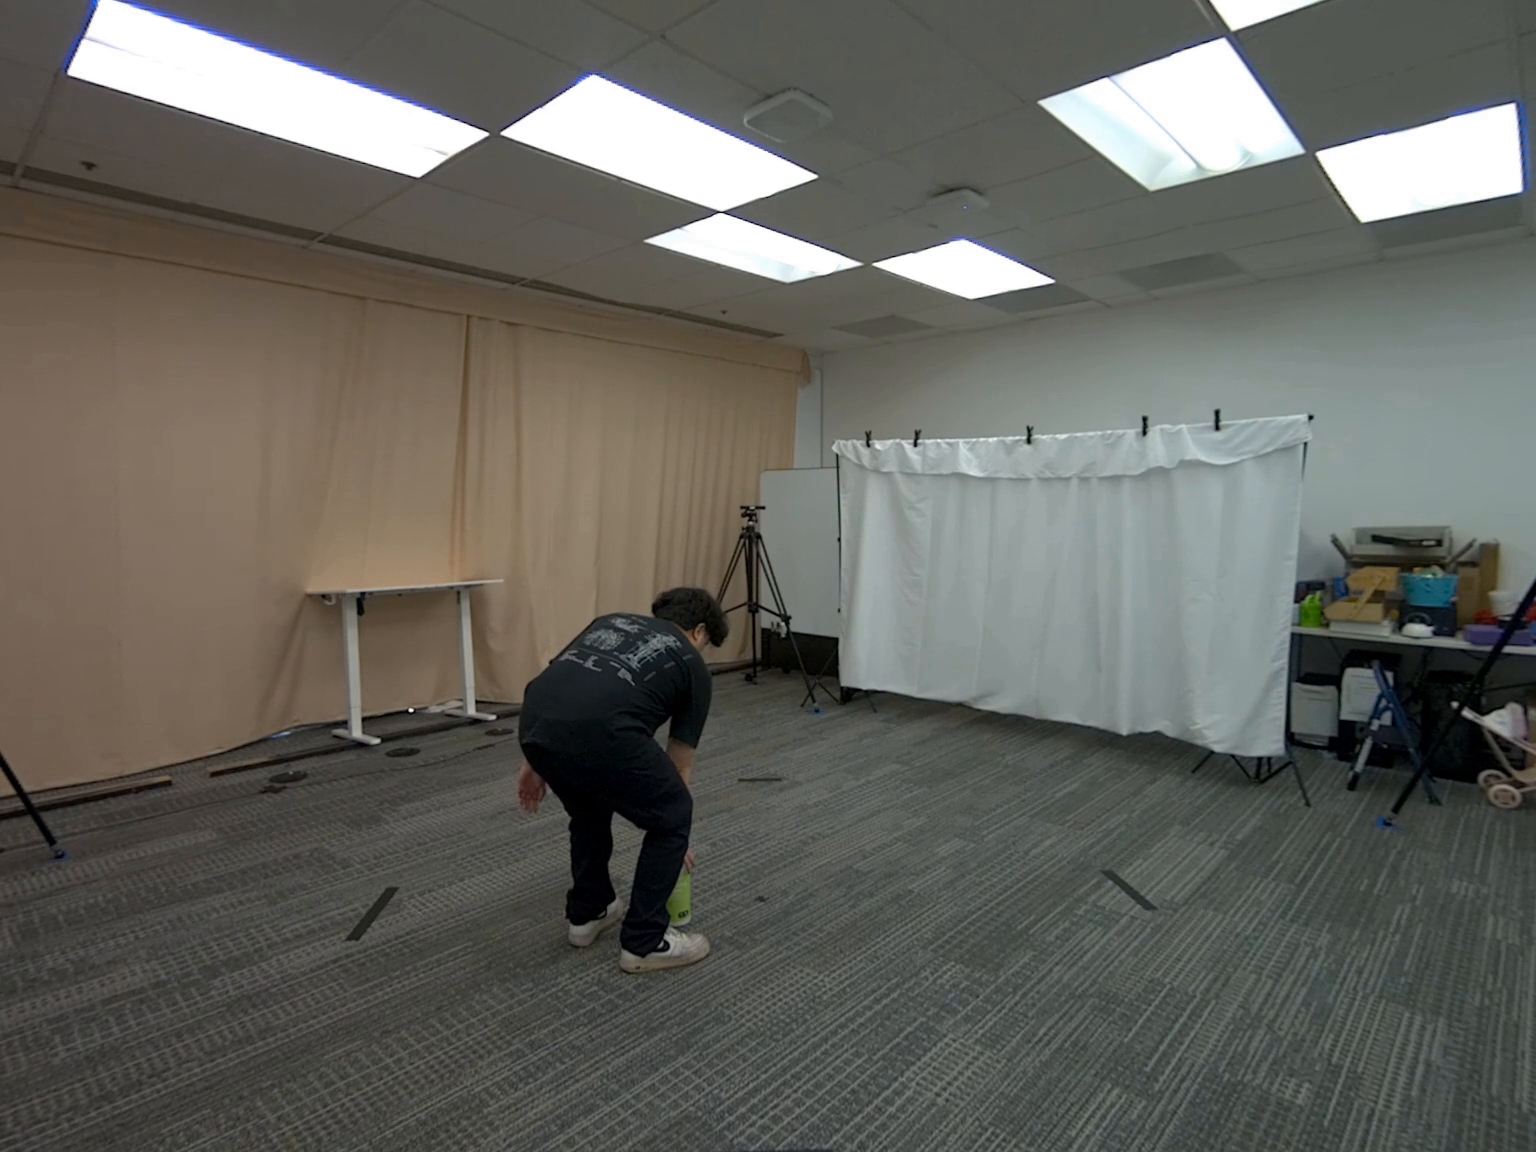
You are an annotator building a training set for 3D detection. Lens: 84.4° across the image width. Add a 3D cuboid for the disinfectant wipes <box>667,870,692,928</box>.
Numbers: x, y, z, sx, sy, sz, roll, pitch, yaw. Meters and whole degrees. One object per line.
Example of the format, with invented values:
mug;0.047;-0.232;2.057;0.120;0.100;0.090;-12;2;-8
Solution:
disinfectant wipes;-0.319;1.055;2.827;0.118;0.217;0.118;0;2;-2
